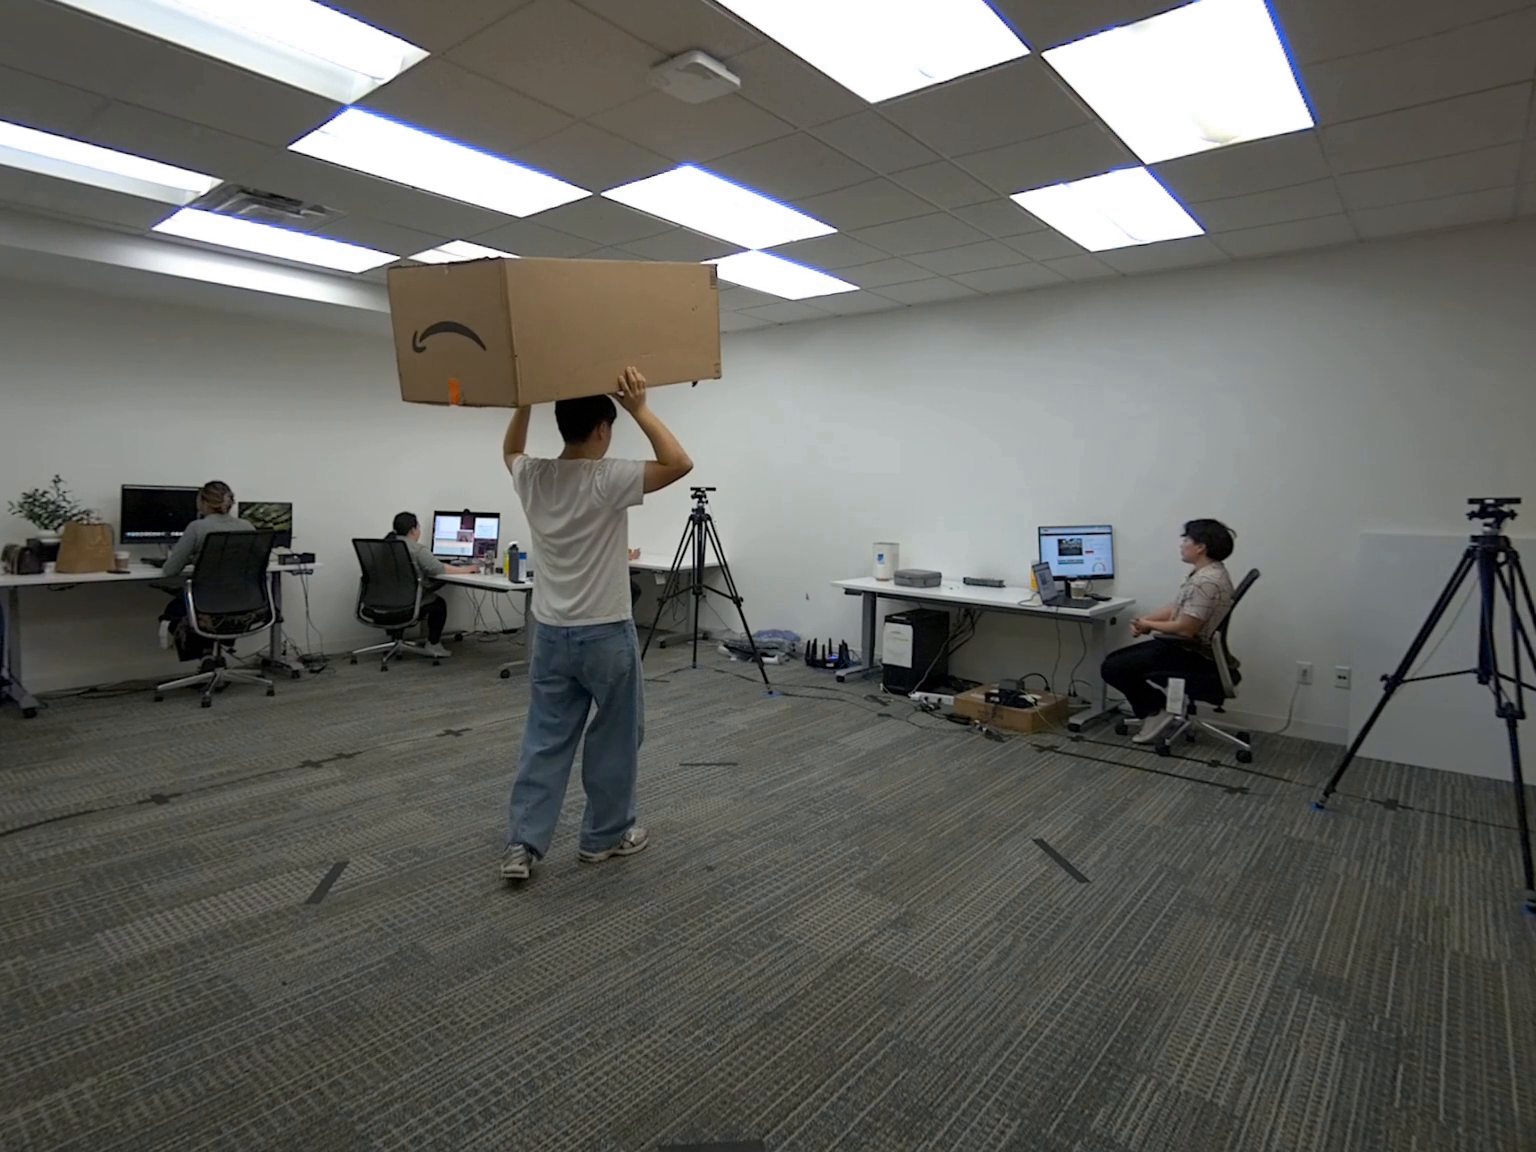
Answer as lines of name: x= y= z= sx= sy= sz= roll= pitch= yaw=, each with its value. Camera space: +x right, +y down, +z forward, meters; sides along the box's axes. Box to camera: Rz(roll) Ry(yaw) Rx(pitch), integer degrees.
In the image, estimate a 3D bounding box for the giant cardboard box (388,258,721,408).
giant cardboard box: x=-0.704 y=-0.865 z=2.981 sx=0.597 sy=0.419 sz=1.008 roll=10 pitch=21 yaw=33
